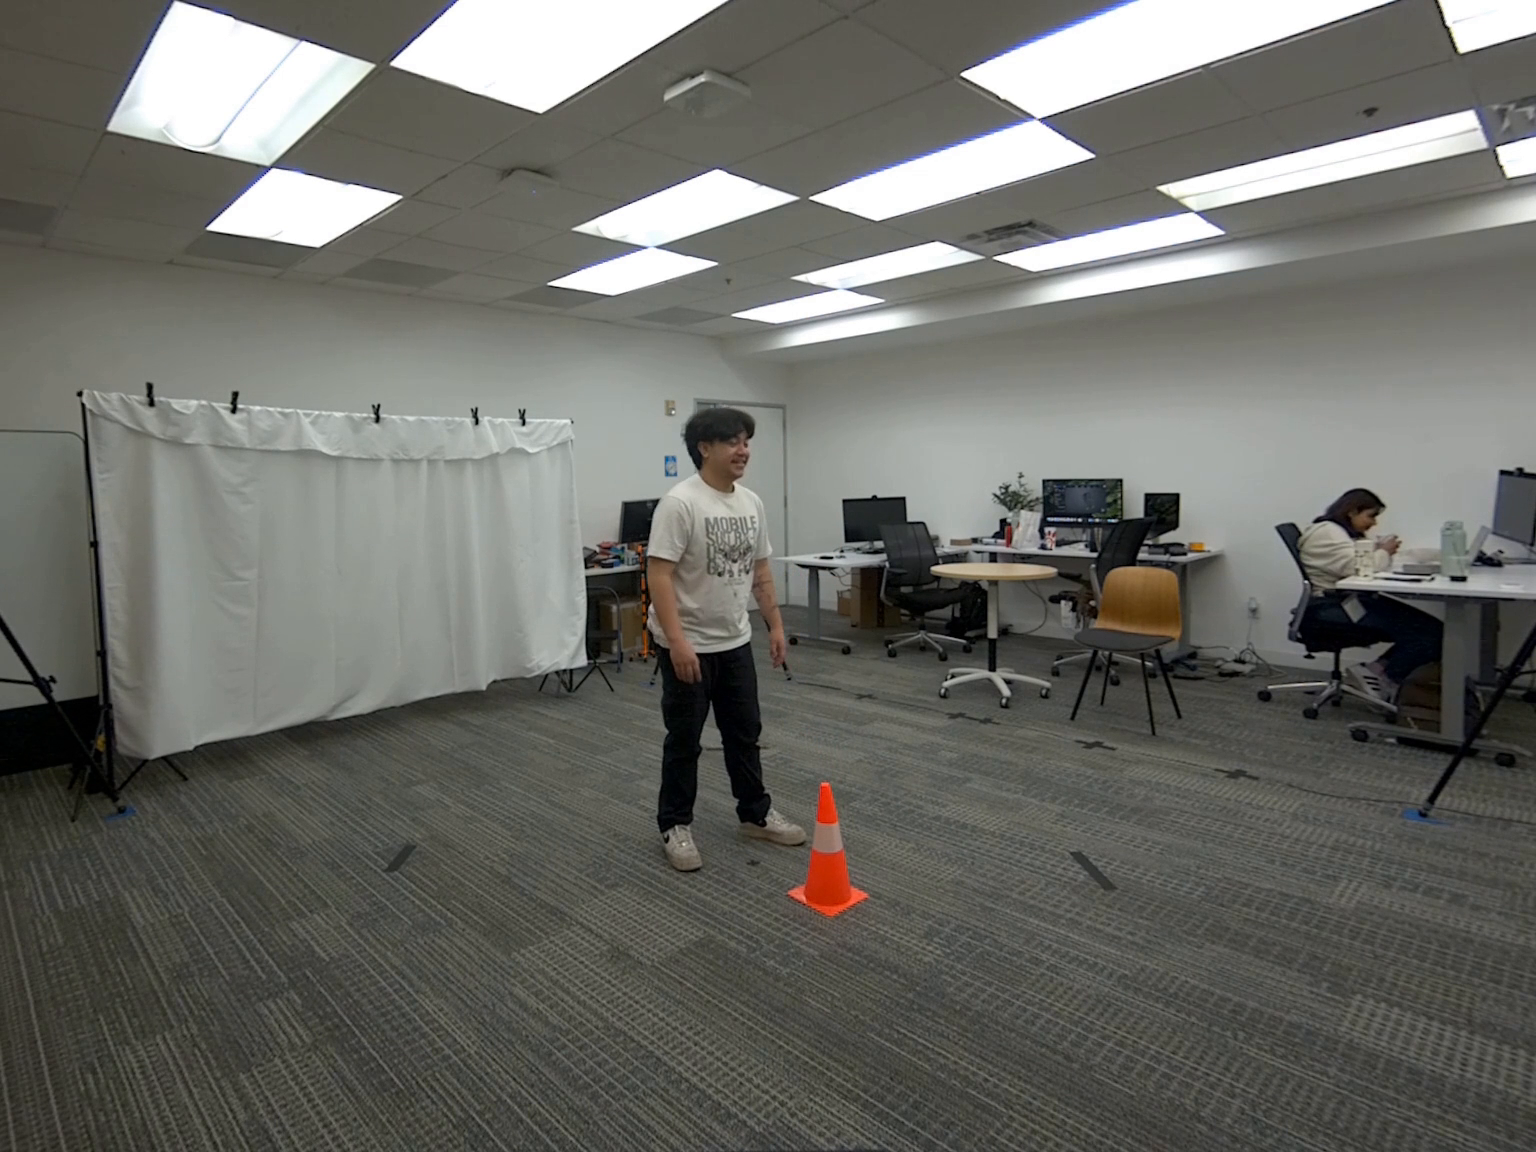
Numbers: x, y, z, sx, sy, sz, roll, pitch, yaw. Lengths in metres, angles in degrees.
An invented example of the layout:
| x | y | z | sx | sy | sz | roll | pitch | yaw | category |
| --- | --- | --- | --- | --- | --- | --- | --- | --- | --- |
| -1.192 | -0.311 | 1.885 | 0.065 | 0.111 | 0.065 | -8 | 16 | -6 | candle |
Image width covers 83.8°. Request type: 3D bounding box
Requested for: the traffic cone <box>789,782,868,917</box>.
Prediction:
| x | y | z | sx | sy | sz | roll | pitch | yaw | category |
| --- | --- | --- | --- | --- | --- | --- | --- | --- | --- |
| 0.199 | 0.879 | 2.837 | 0.200 | 0.382 | 0.209 | -6 | 6 | -40 | traffic cone |
